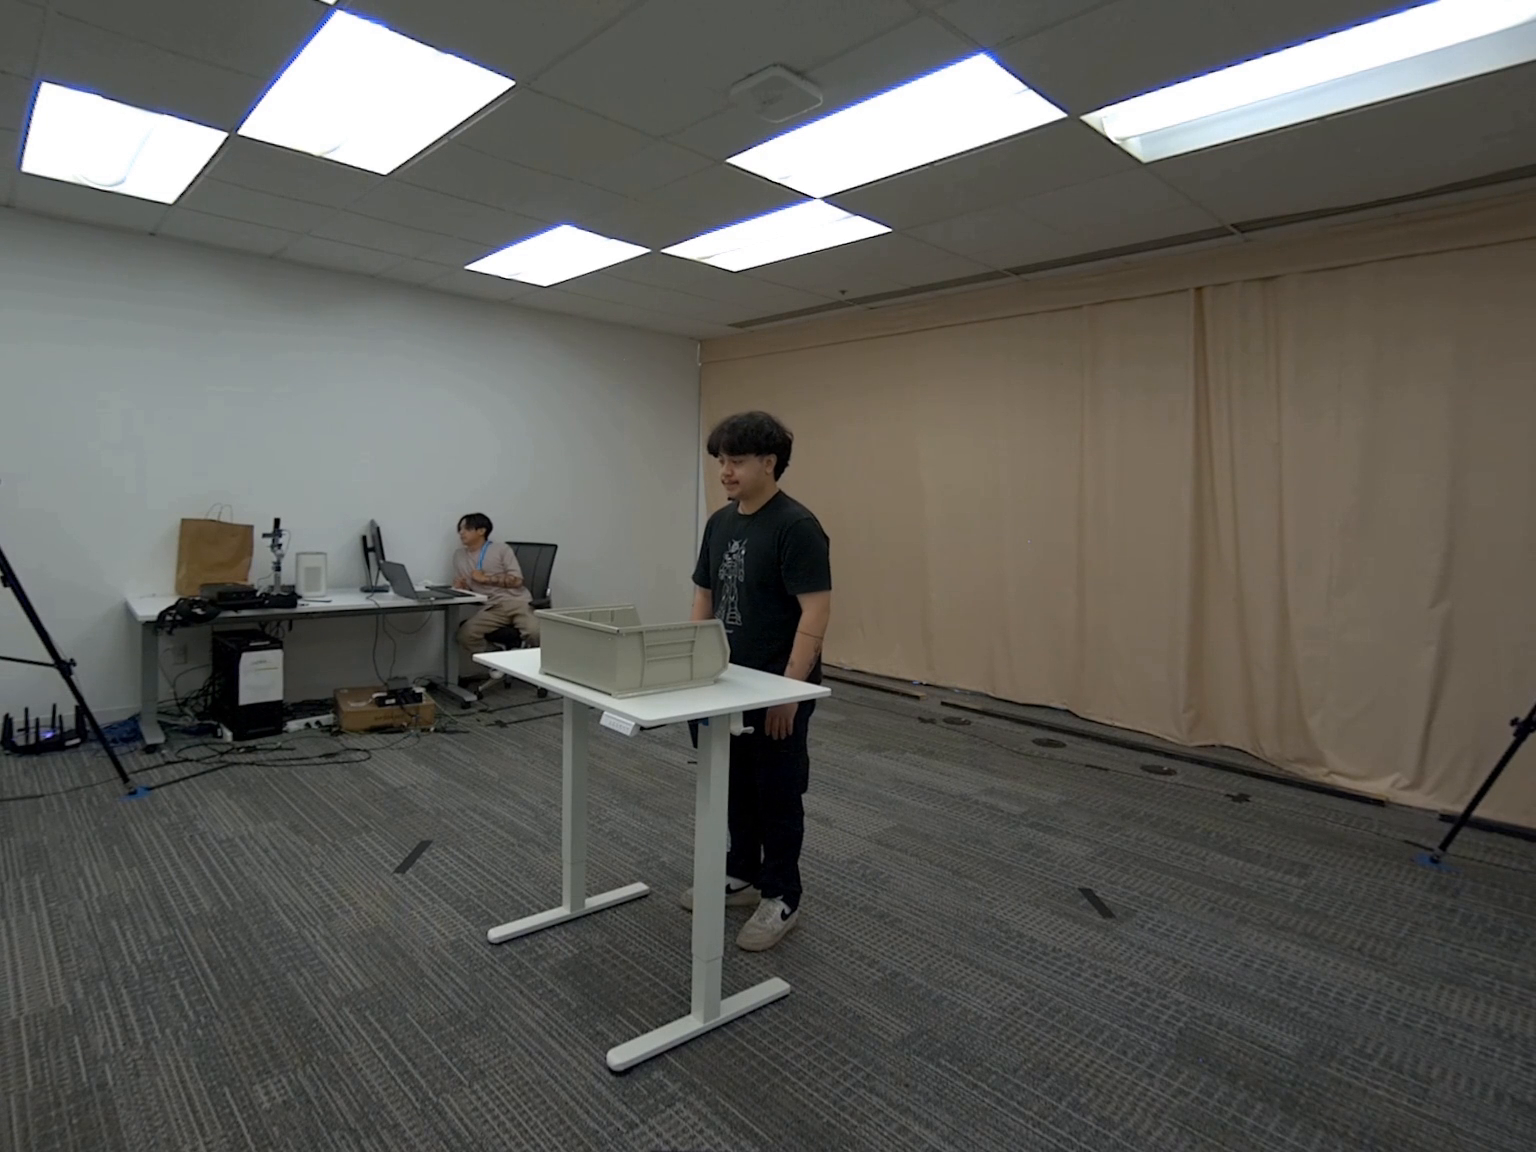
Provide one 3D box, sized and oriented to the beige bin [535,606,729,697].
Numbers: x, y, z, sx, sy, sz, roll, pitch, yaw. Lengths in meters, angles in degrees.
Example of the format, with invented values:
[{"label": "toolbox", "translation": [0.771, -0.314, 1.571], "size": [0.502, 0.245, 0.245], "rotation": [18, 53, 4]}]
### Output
[{"label": "beige bin", "translation": [-0.389, 0.201, 2.354], "size": [0.369, 0.188, 0.433], "rotation": [-3, 6, -42]}]
